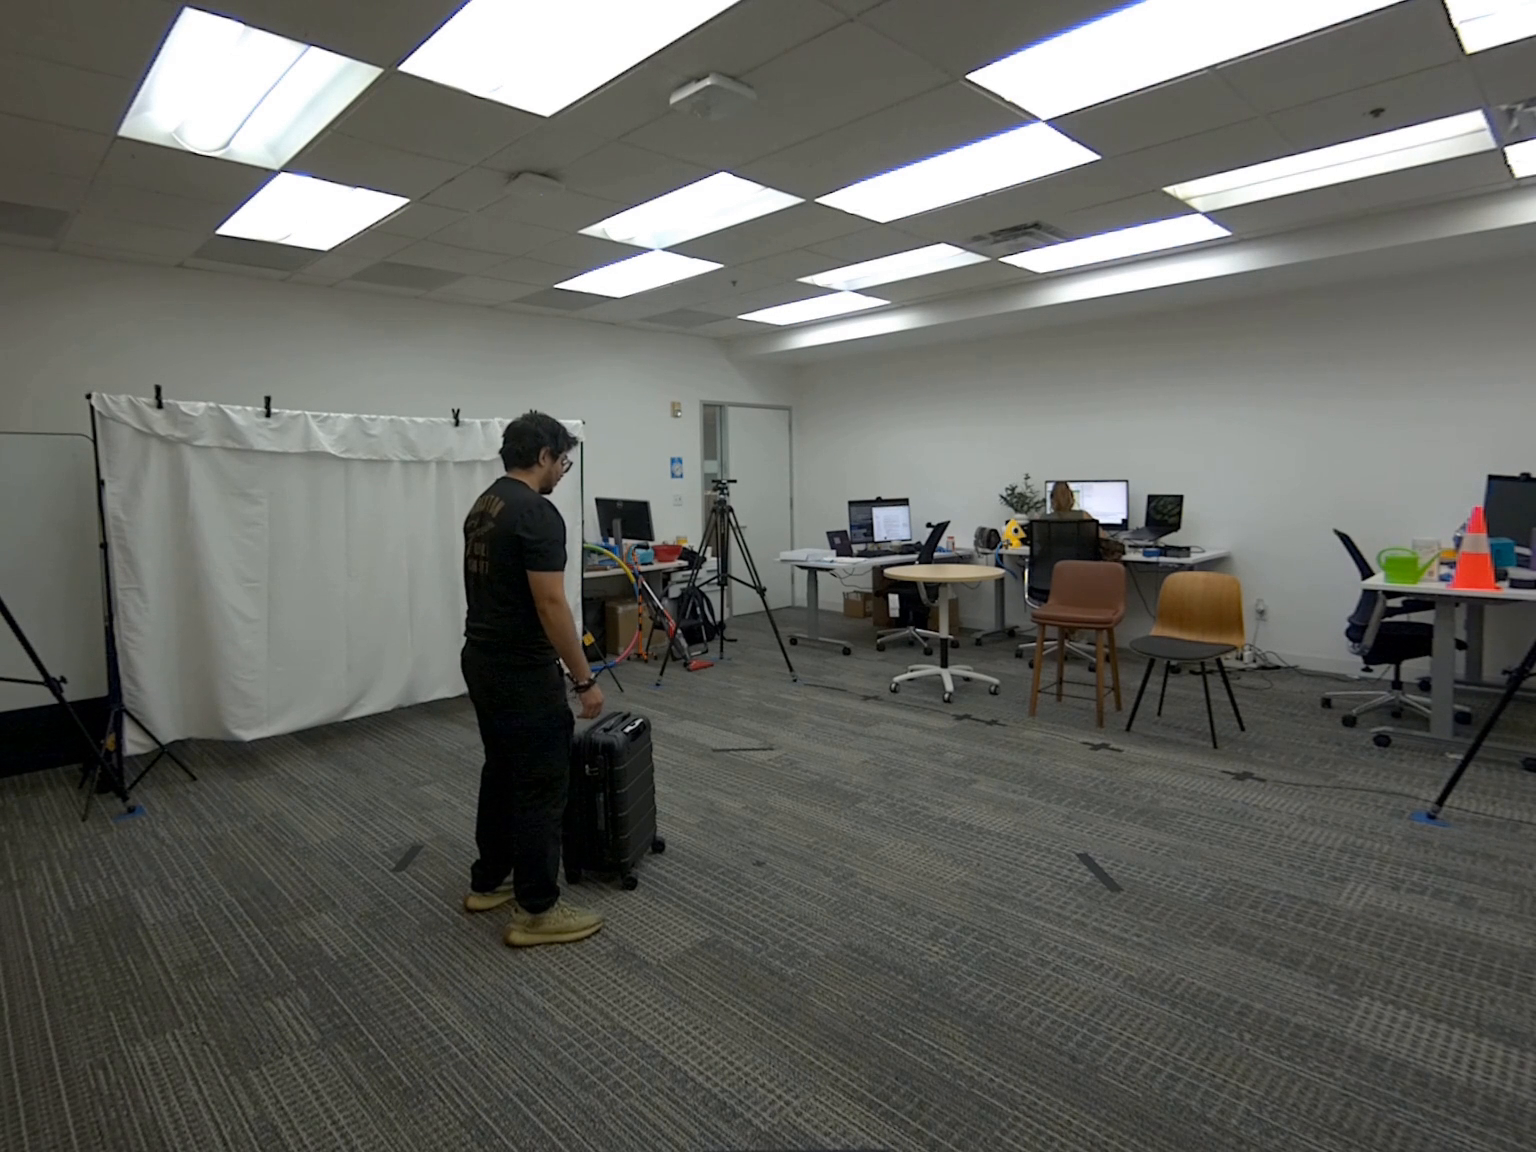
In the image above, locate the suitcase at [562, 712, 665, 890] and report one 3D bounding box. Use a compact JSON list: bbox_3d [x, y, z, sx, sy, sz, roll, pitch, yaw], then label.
[{"bbox_3d":[-0.571,0.784,3.091,0.252,0.547,0.372,-1,5,13],"label":"suitcase"}]
